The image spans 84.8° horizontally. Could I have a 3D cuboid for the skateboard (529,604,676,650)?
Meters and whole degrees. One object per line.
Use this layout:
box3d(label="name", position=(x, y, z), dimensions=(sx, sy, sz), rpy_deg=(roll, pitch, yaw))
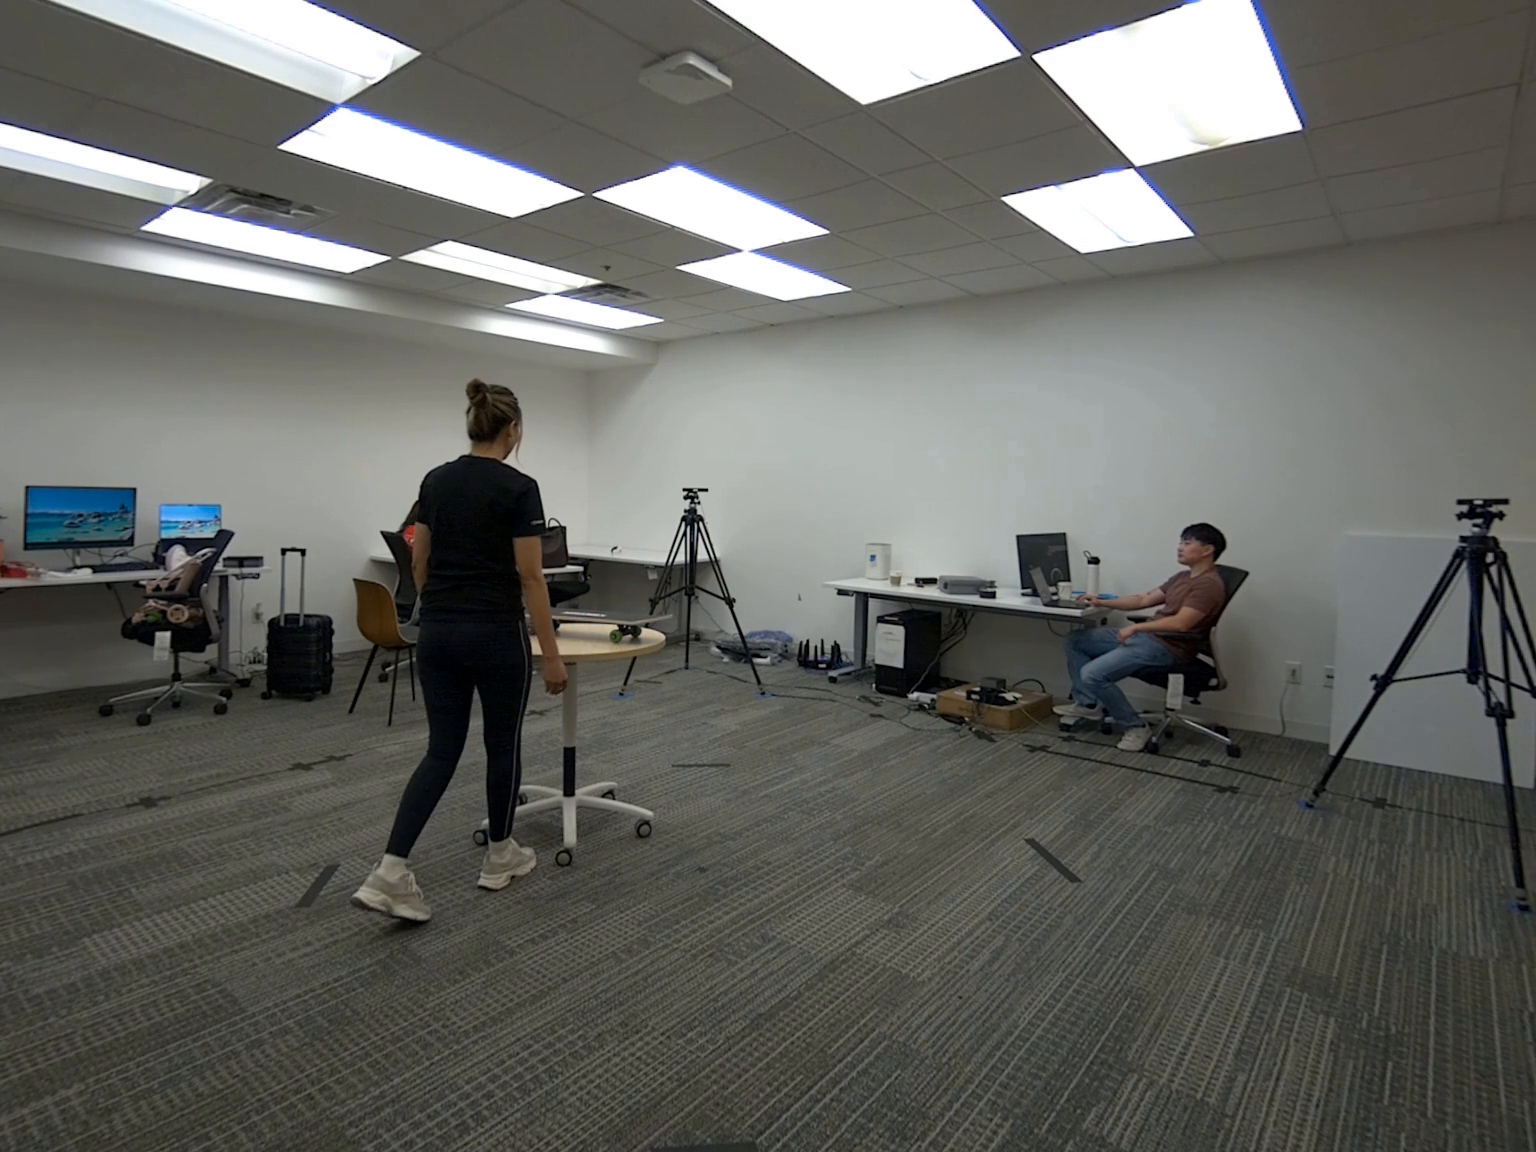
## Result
box3d(label="skateboard", position=(-0.776, 0.193, 3.450), dimensions=(0.805, 0.110, 0.189), rpy_deg=(3, 4, 24))
